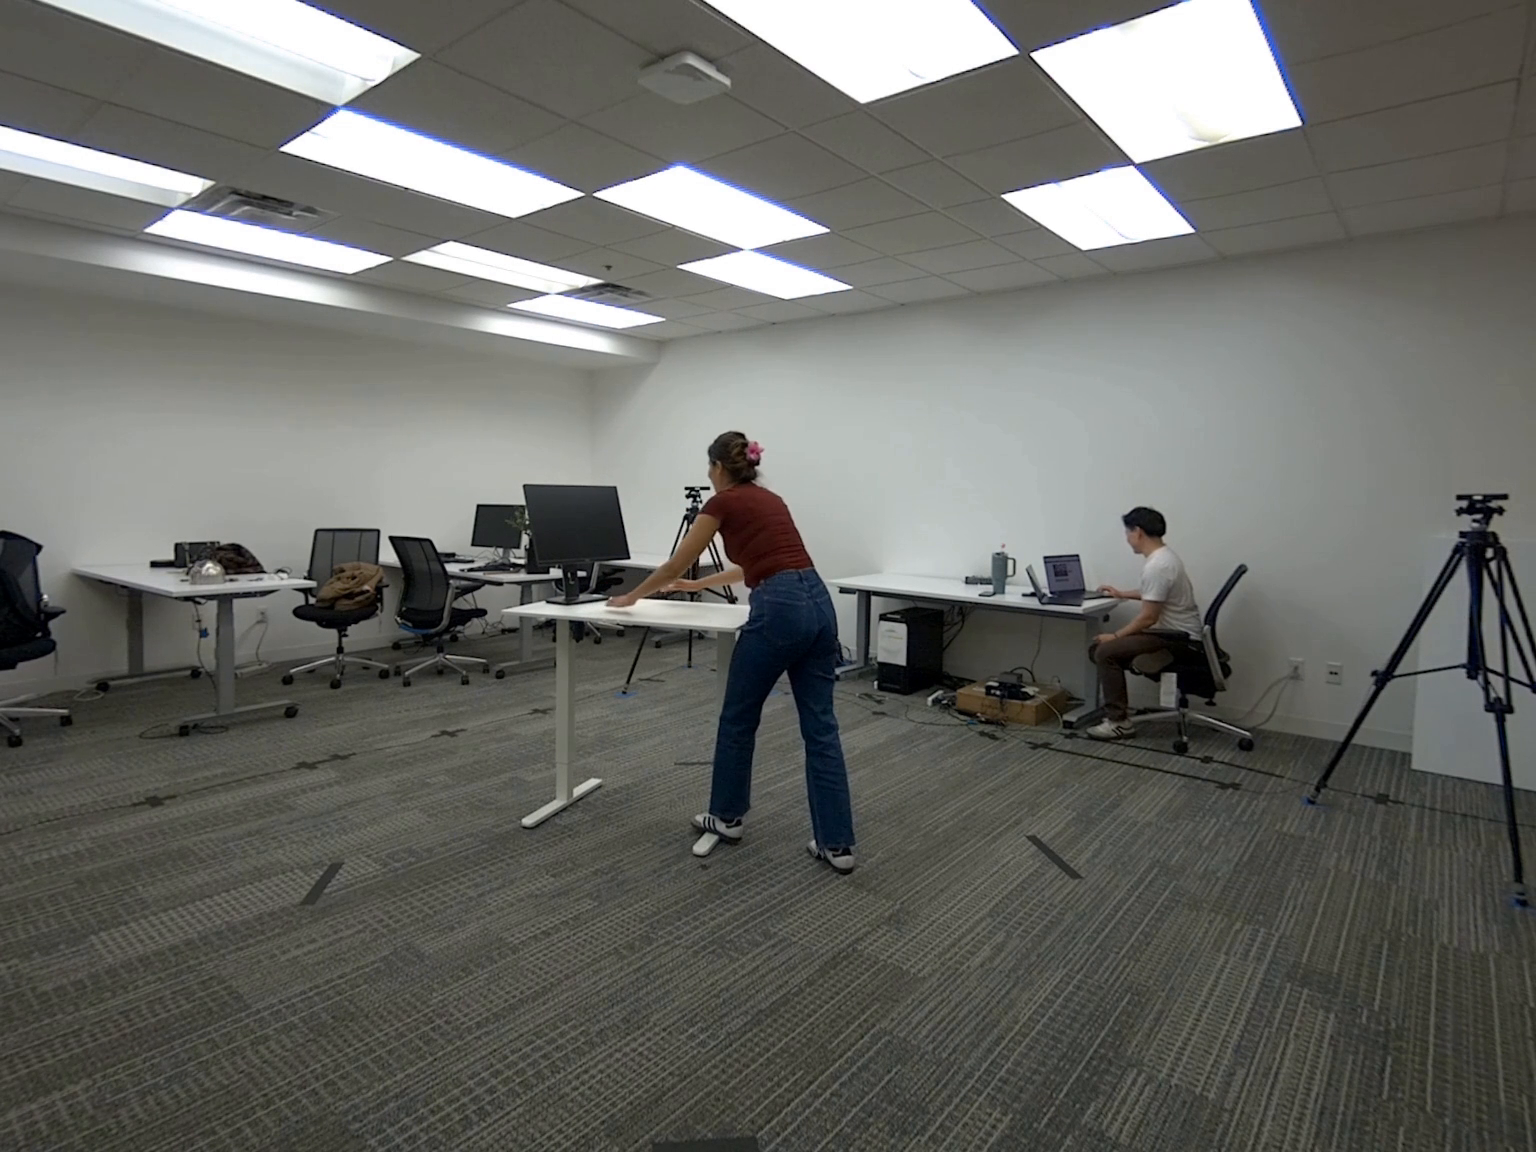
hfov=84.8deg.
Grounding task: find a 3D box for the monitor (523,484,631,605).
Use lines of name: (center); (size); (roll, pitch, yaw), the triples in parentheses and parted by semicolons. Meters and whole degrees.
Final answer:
monitor: (-0.878, -0.145, 3.779); (0.193, 0.522, 0.524); (0, 3, 35)
